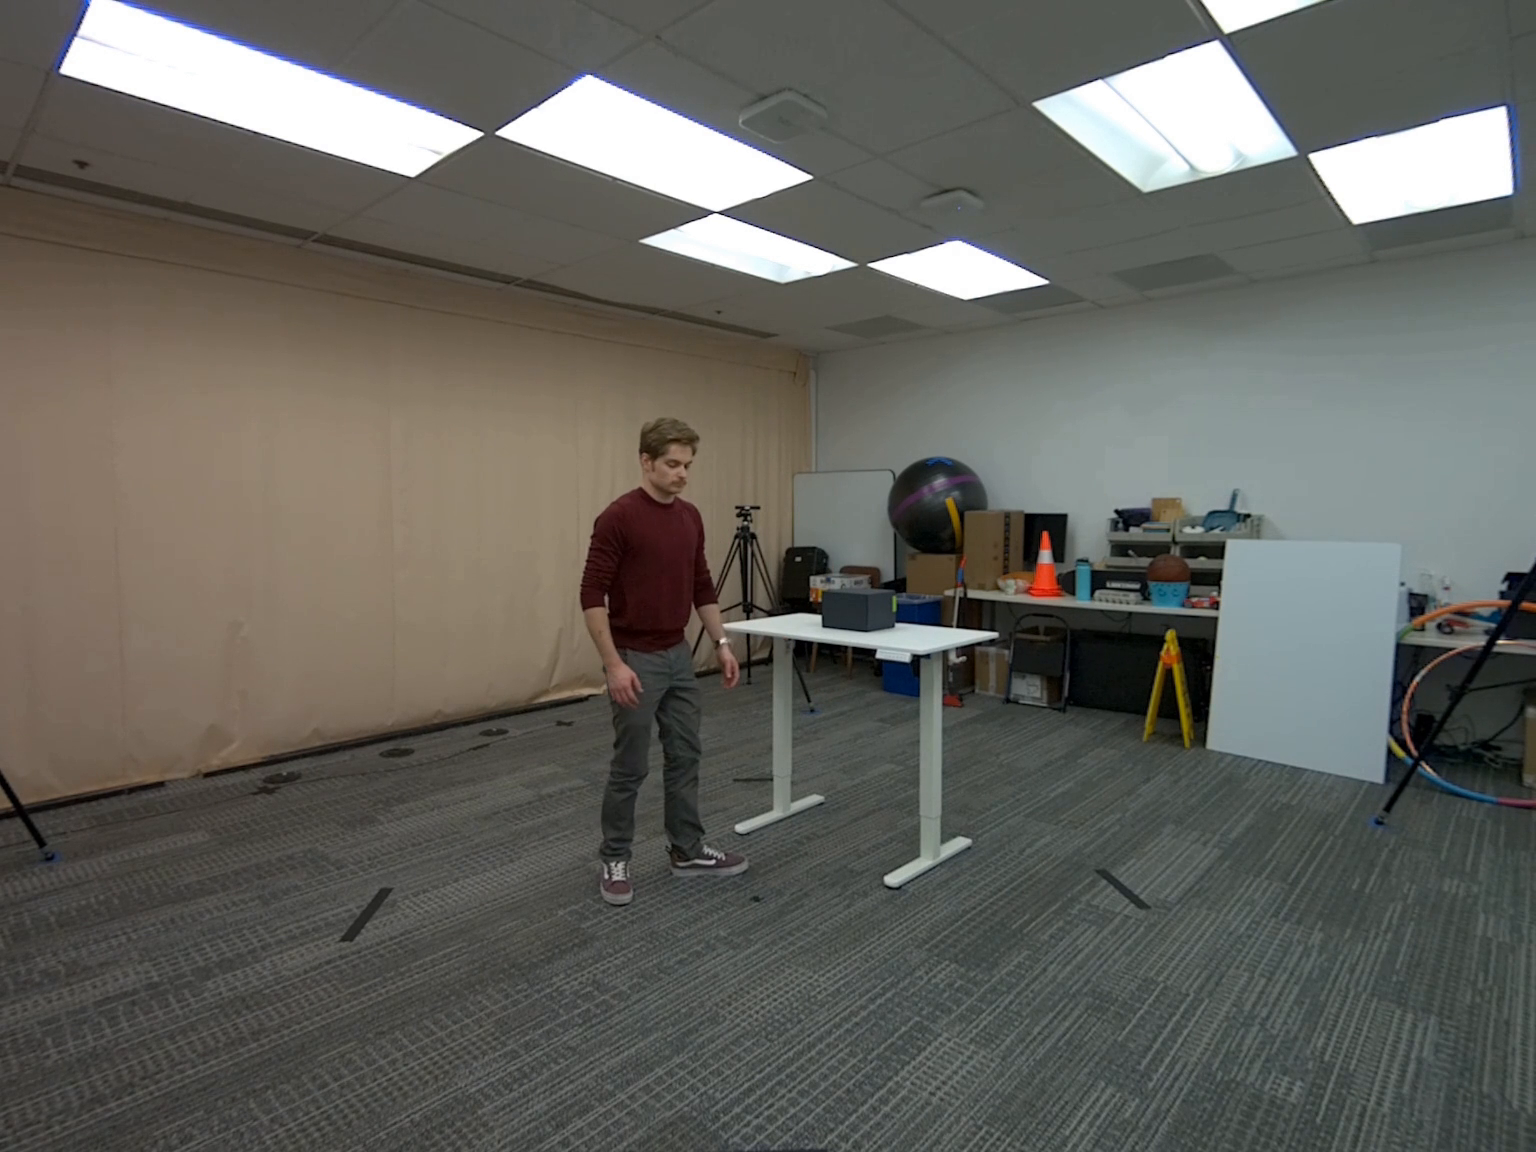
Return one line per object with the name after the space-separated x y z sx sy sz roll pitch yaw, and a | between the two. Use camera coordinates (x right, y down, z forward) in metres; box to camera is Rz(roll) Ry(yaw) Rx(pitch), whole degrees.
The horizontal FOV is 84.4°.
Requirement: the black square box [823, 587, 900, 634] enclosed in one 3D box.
0.386 0.137 3.515 0.235 0.155 0.210 3 4 42 | black square box
